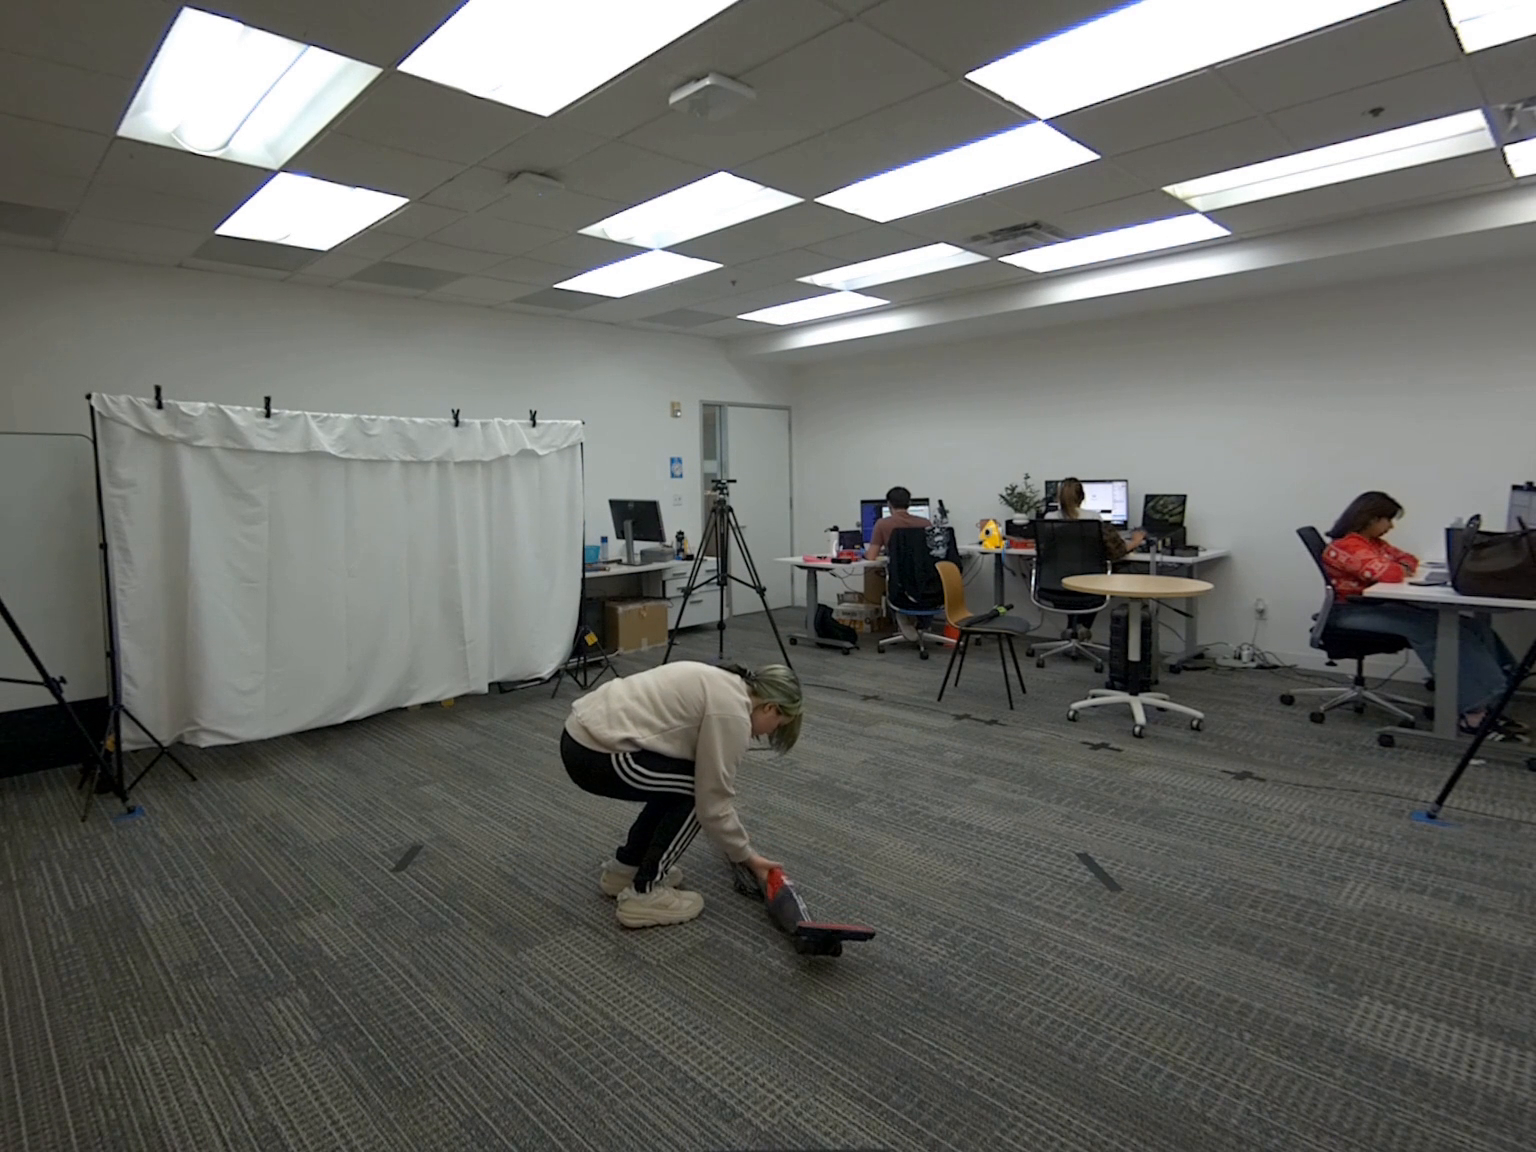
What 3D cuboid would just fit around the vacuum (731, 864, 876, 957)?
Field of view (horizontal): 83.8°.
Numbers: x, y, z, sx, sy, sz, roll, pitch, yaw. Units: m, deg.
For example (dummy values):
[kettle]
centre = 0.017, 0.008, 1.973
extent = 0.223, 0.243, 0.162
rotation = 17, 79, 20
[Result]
[vacuum]
centre = -0.035, 1.003, 2.914
extent = 0.247, 0.144, 1.070
rotation = 13, -3, -23
